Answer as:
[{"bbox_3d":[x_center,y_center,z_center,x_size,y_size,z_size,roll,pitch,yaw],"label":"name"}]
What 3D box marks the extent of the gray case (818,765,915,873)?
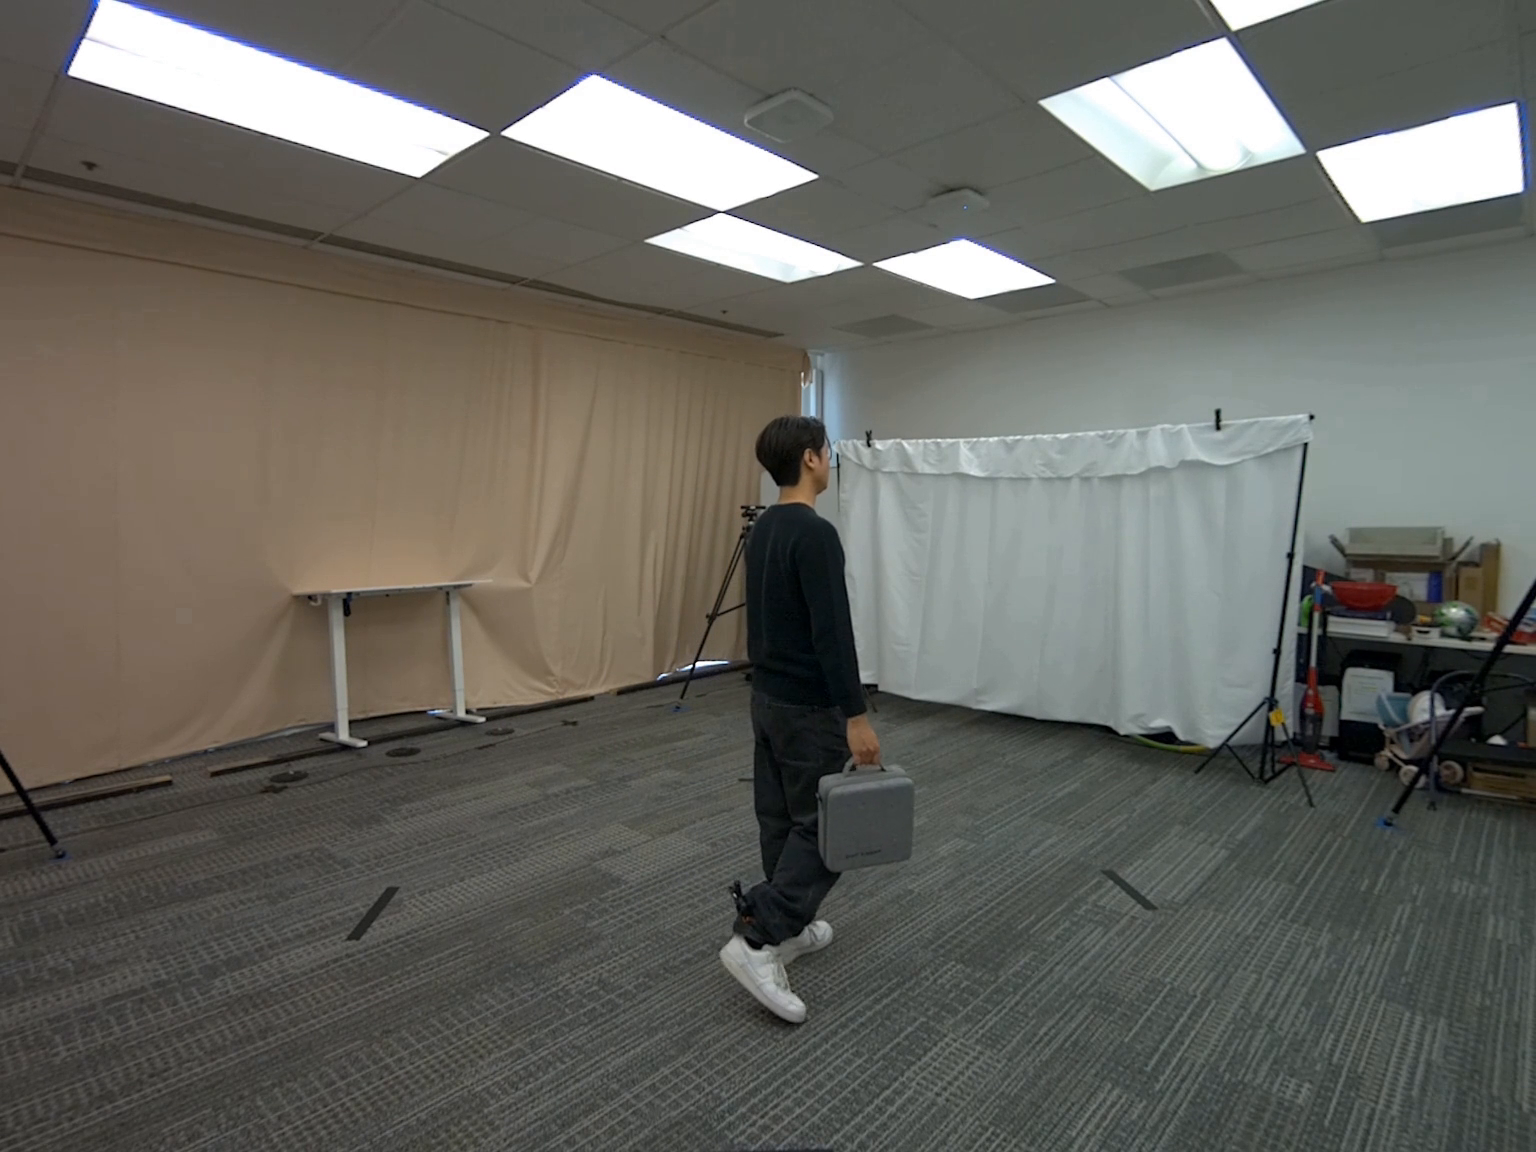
[{"bbox_3d":[0.266,0.658,2.300,0.253,0.259,0.106,-3,10,-13],"label":"gray case"}]
